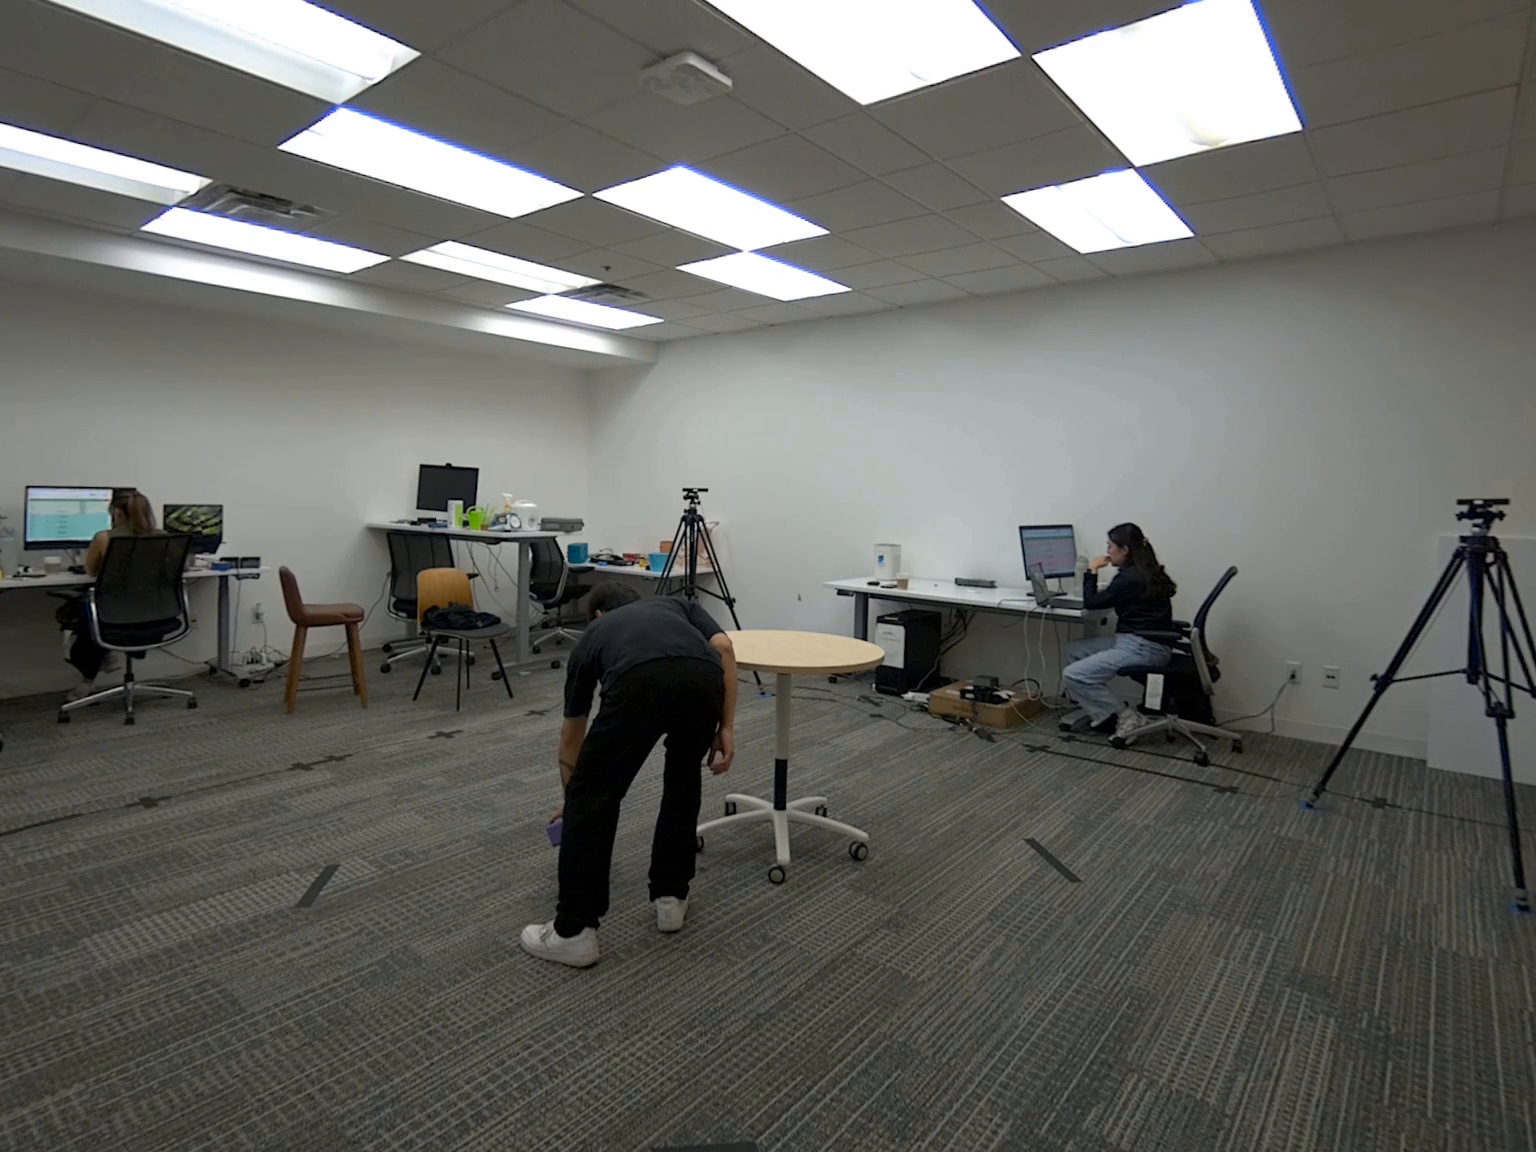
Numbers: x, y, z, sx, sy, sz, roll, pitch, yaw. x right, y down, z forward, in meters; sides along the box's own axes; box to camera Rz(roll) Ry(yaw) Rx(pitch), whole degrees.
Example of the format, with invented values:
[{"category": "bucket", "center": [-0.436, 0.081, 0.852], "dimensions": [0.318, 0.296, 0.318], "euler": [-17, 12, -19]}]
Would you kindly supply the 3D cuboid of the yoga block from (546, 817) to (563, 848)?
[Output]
[{"category": "yoga block", "center": [-0.706, 0.892, 3.025], "dimensions": [0.148, 0.077, 0.227], "euler": [-23, -7, -6]}]
